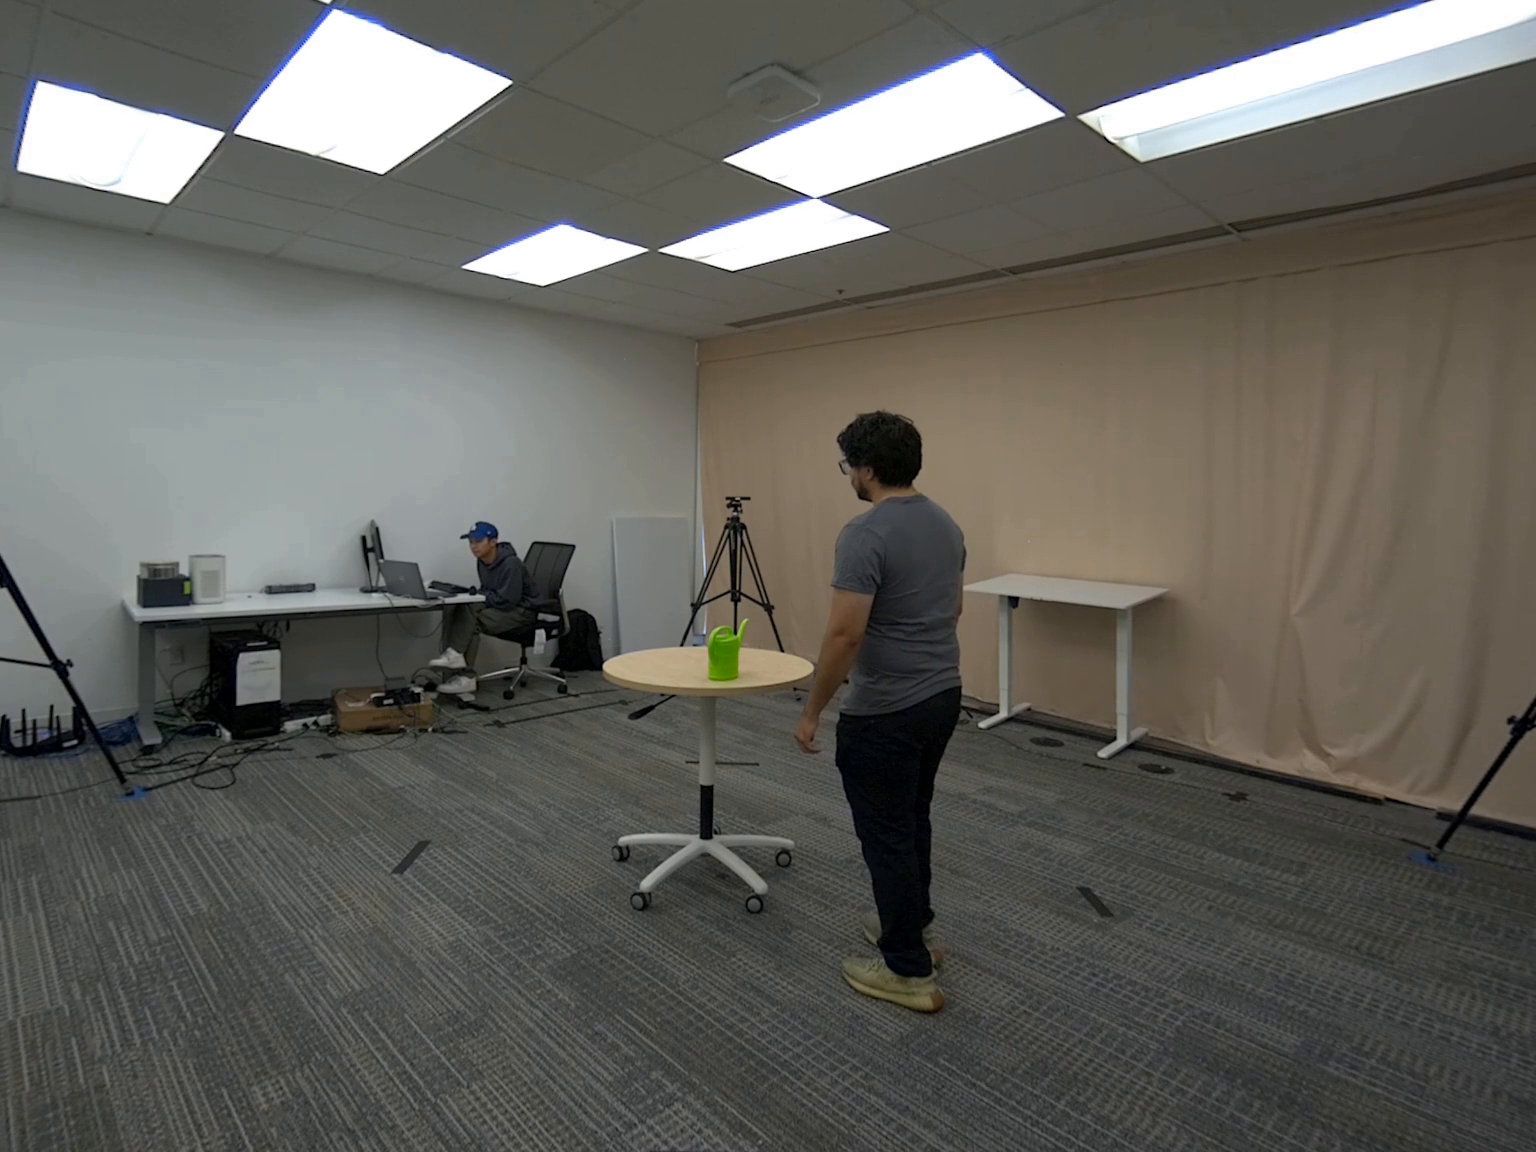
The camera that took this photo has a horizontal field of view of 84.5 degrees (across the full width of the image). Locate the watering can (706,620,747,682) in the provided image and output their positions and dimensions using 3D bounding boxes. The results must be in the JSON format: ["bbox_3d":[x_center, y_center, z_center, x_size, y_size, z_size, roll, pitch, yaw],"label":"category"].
[{"bbox_3d":[-0.128,0.256,2.879,0.100,0.176,0.273,5,8,36],"label":"watering can"}]
